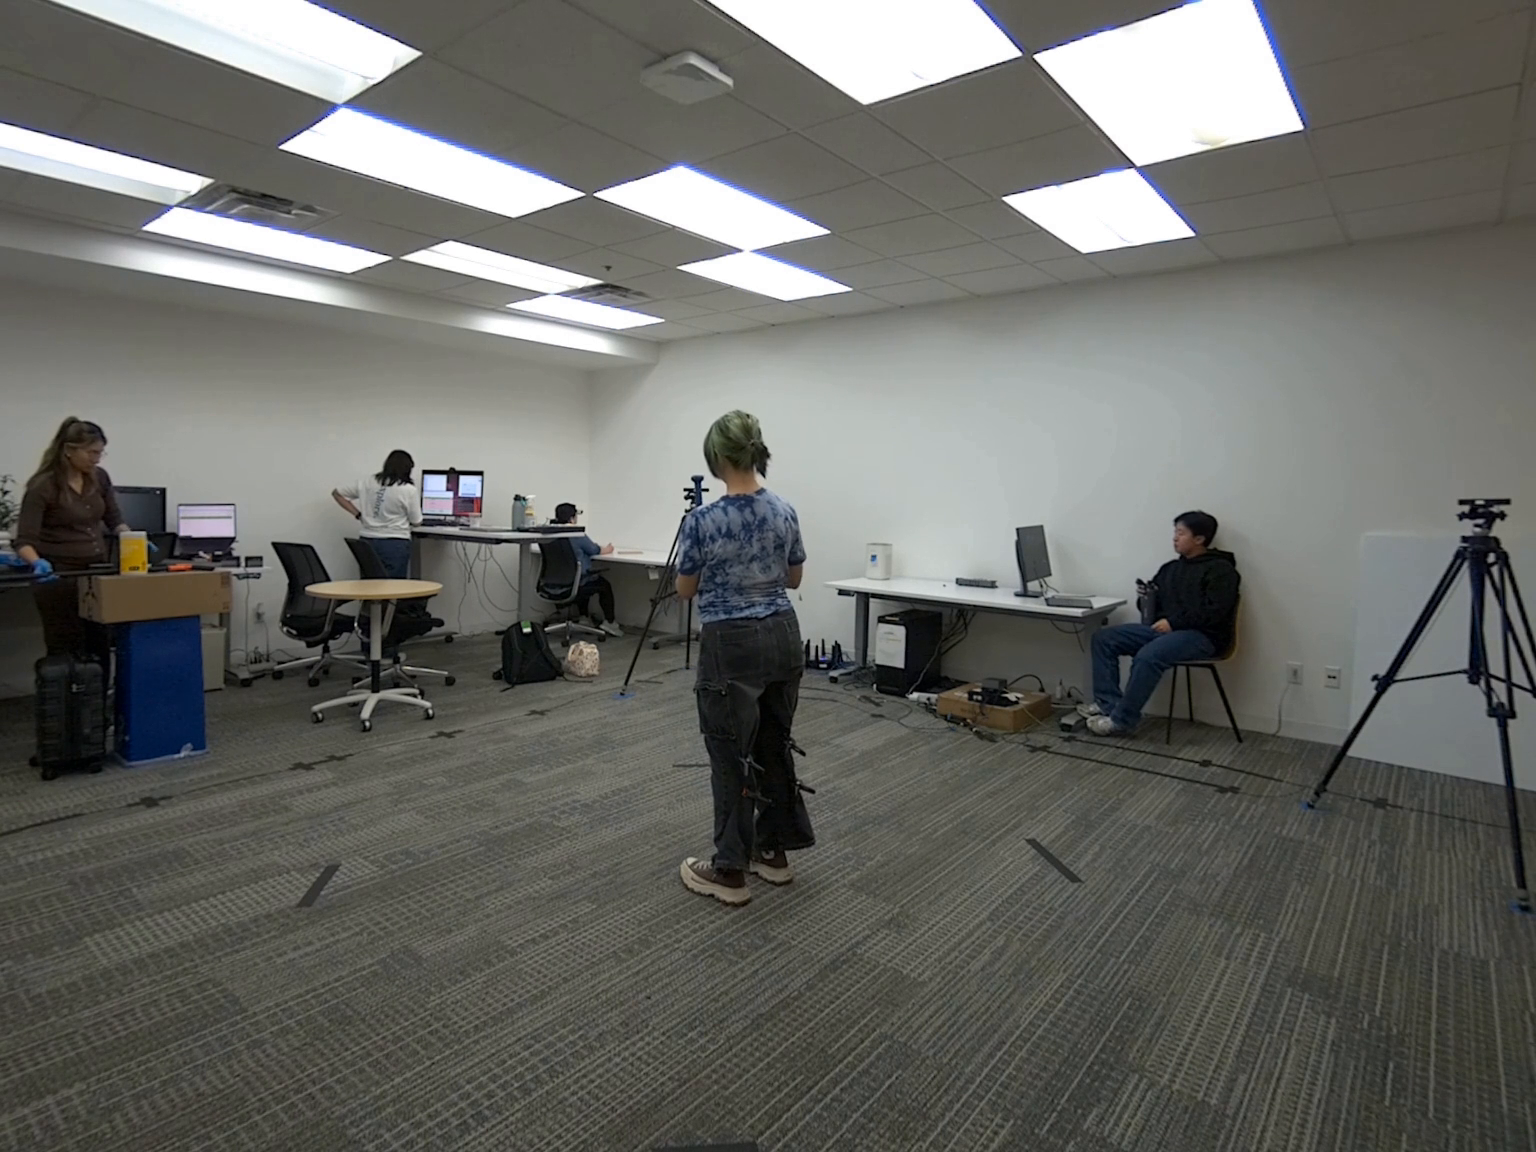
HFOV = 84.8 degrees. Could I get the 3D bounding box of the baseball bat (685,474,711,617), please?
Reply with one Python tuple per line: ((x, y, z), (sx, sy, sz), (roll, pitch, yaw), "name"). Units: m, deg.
((-0.265, -0.122, 3.292), (0.089, 0.543, 0.089), (-3, 0, -2), "baseball bat")
